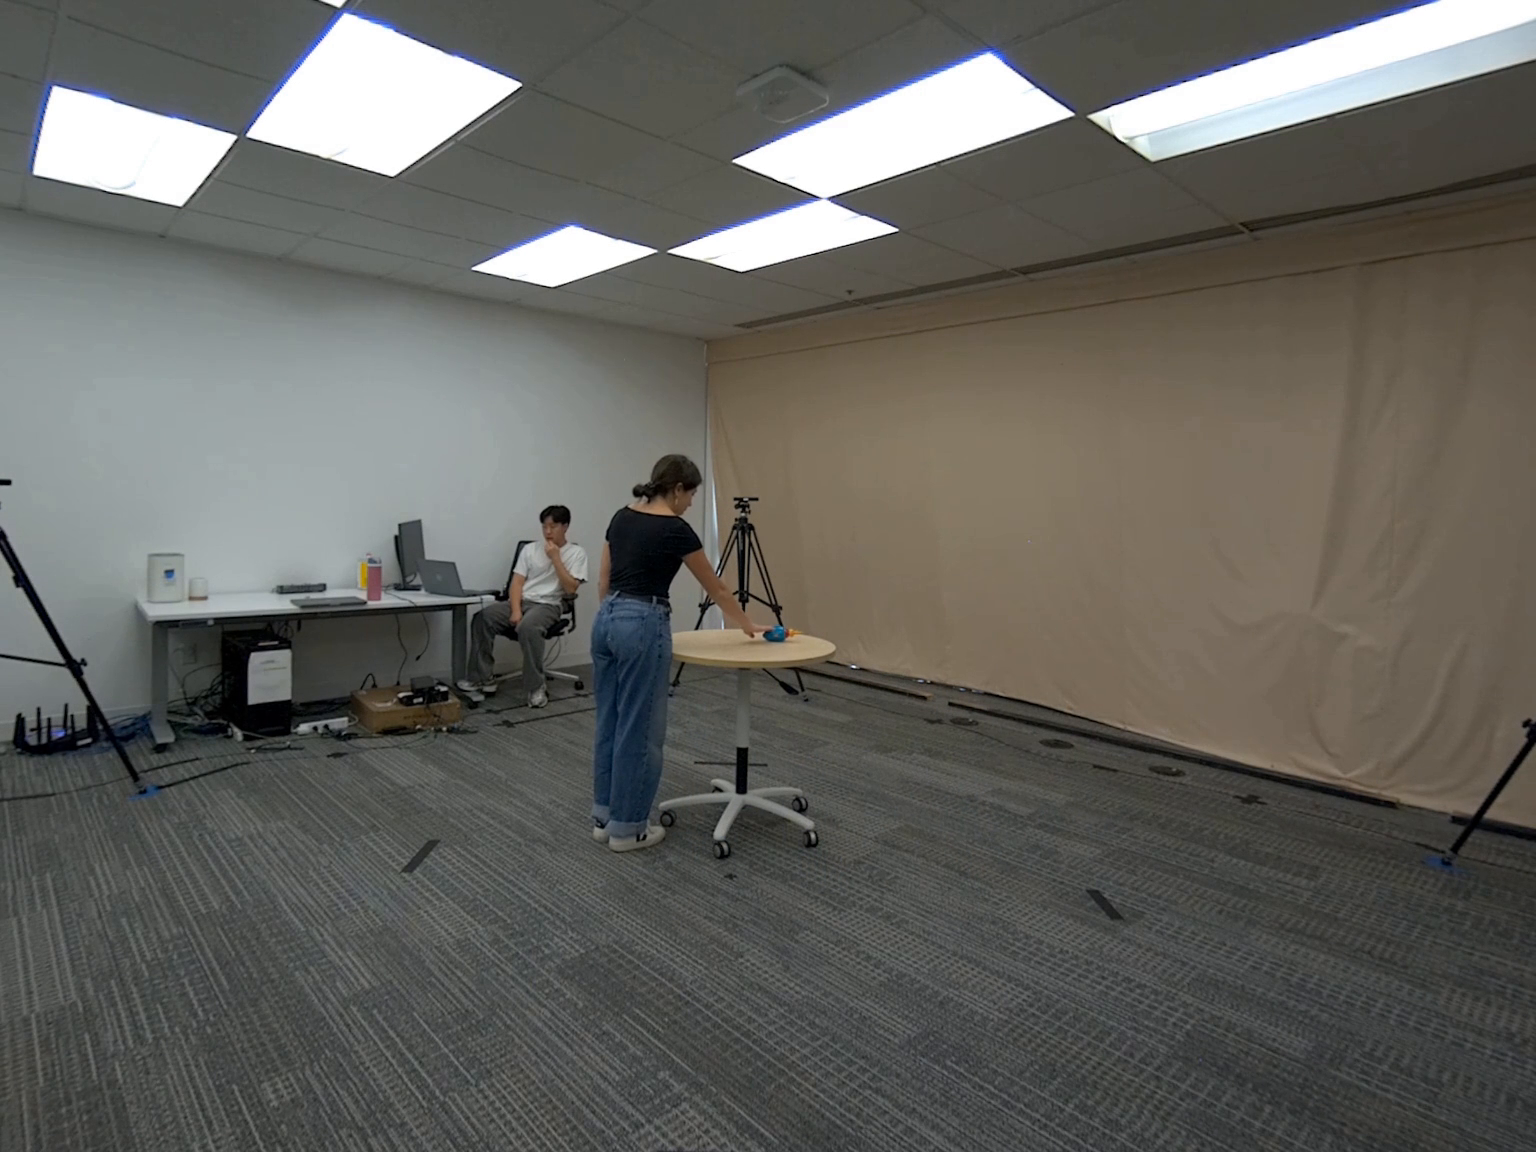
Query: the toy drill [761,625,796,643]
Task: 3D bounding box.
[{"bbox_3d":[0.056,0.249,3.675,0.170,0.061,0.146,-6,4,4],"label":"toy drill"}]
